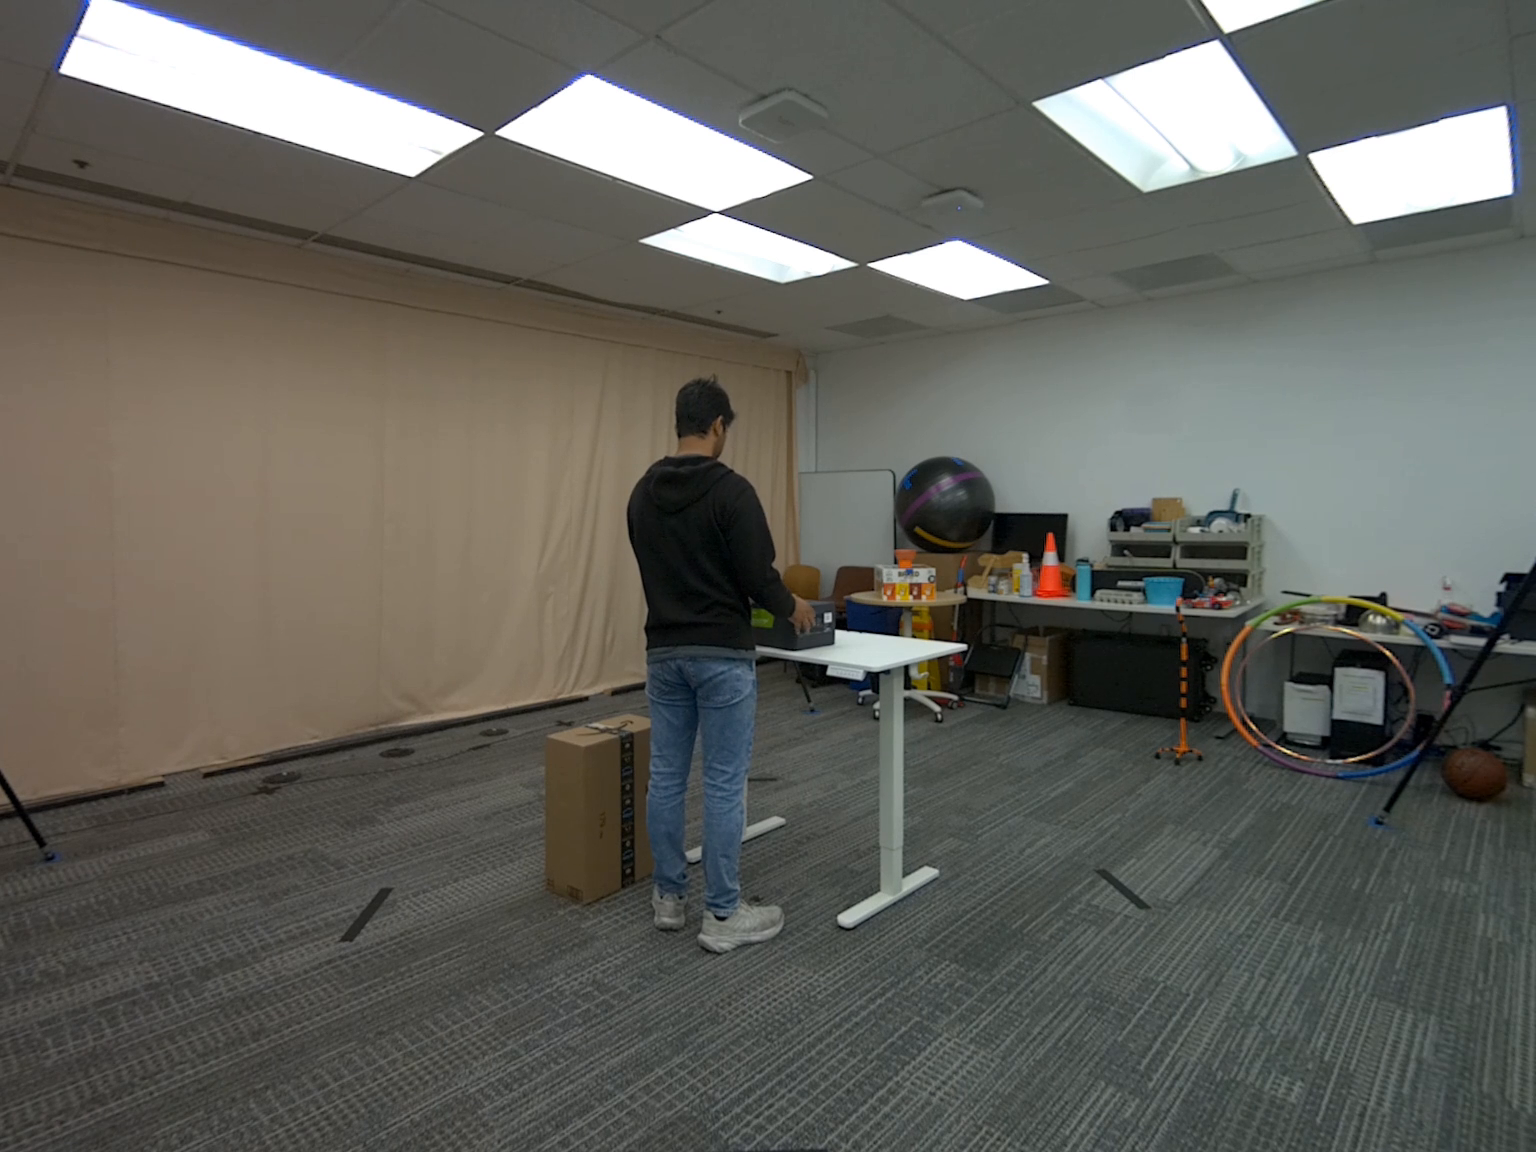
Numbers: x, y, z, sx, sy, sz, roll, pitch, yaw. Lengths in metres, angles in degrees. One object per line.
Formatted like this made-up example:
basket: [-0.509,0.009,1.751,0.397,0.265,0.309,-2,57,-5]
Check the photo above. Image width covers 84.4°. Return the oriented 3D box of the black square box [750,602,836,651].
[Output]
black square box: [0.091,0.171,3.096,0.210,0.155,0.235,-3,5,-44]
